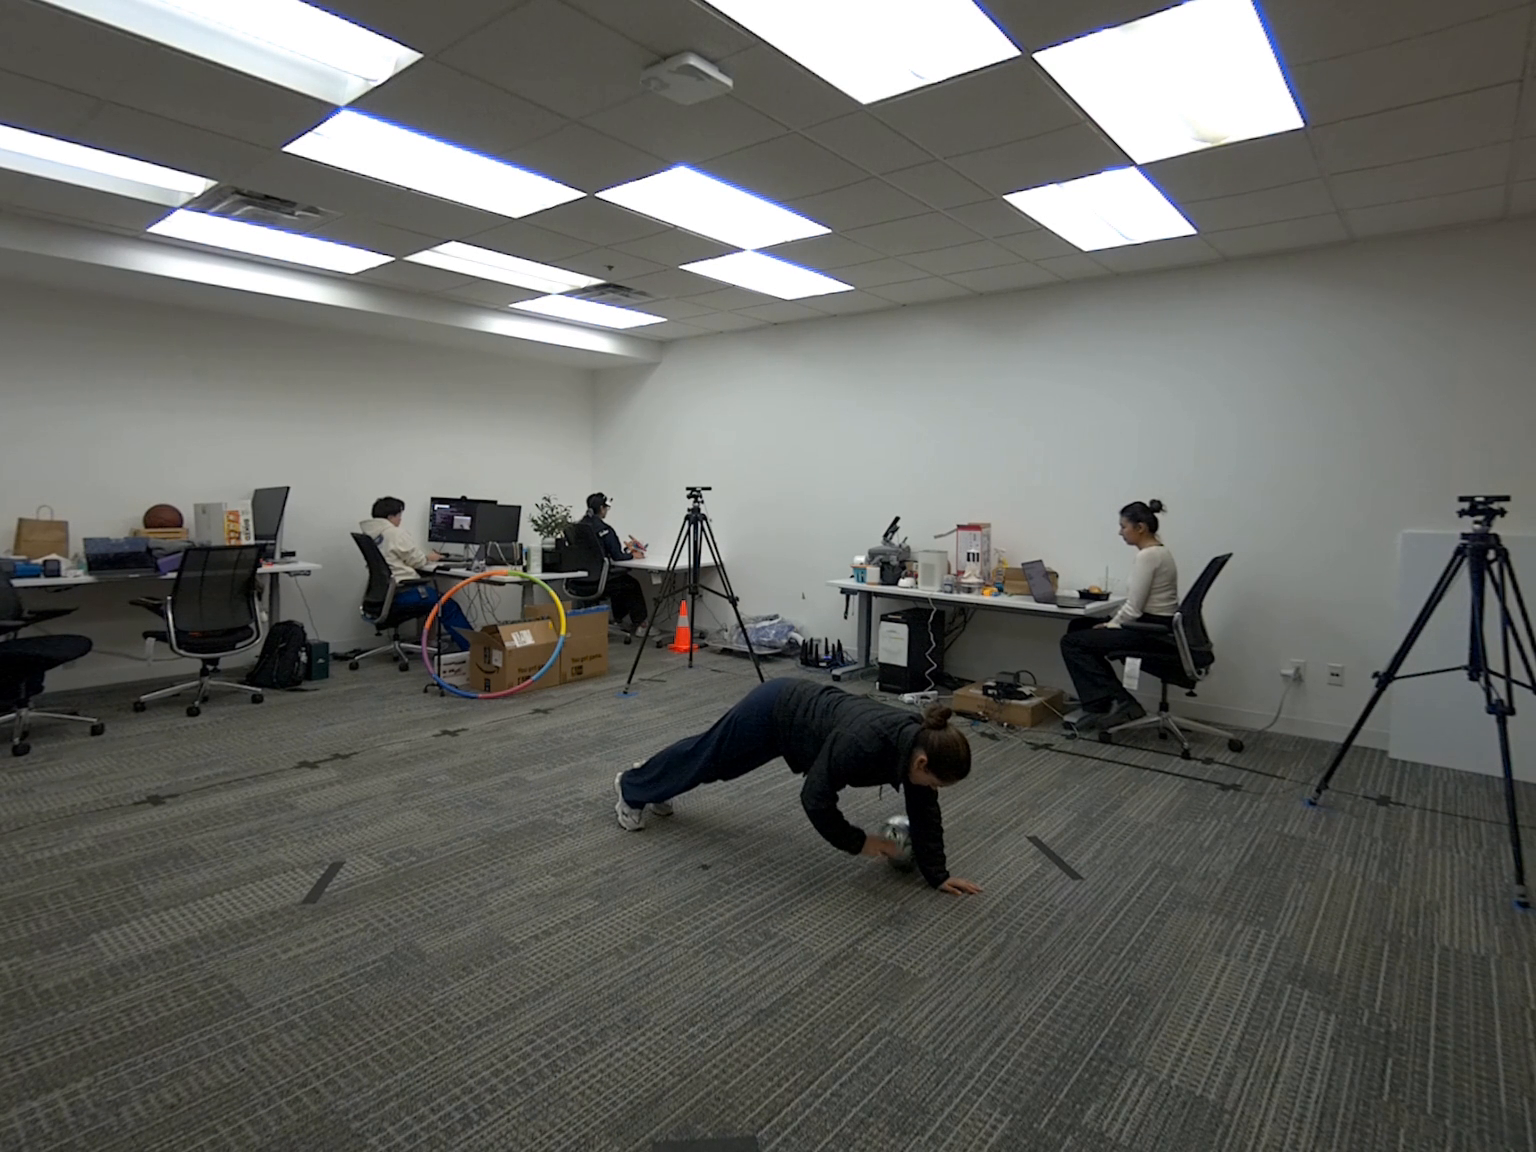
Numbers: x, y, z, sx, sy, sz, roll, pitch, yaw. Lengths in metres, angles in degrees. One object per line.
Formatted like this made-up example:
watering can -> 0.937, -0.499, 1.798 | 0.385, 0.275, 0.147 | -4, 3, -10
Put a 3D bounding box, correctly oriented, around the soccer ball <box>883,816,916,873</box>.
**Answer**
soccer ball -> 0.491, 0.982, 3.156 | 0.187, 0.187, 0.188 | 1, 4, -2
